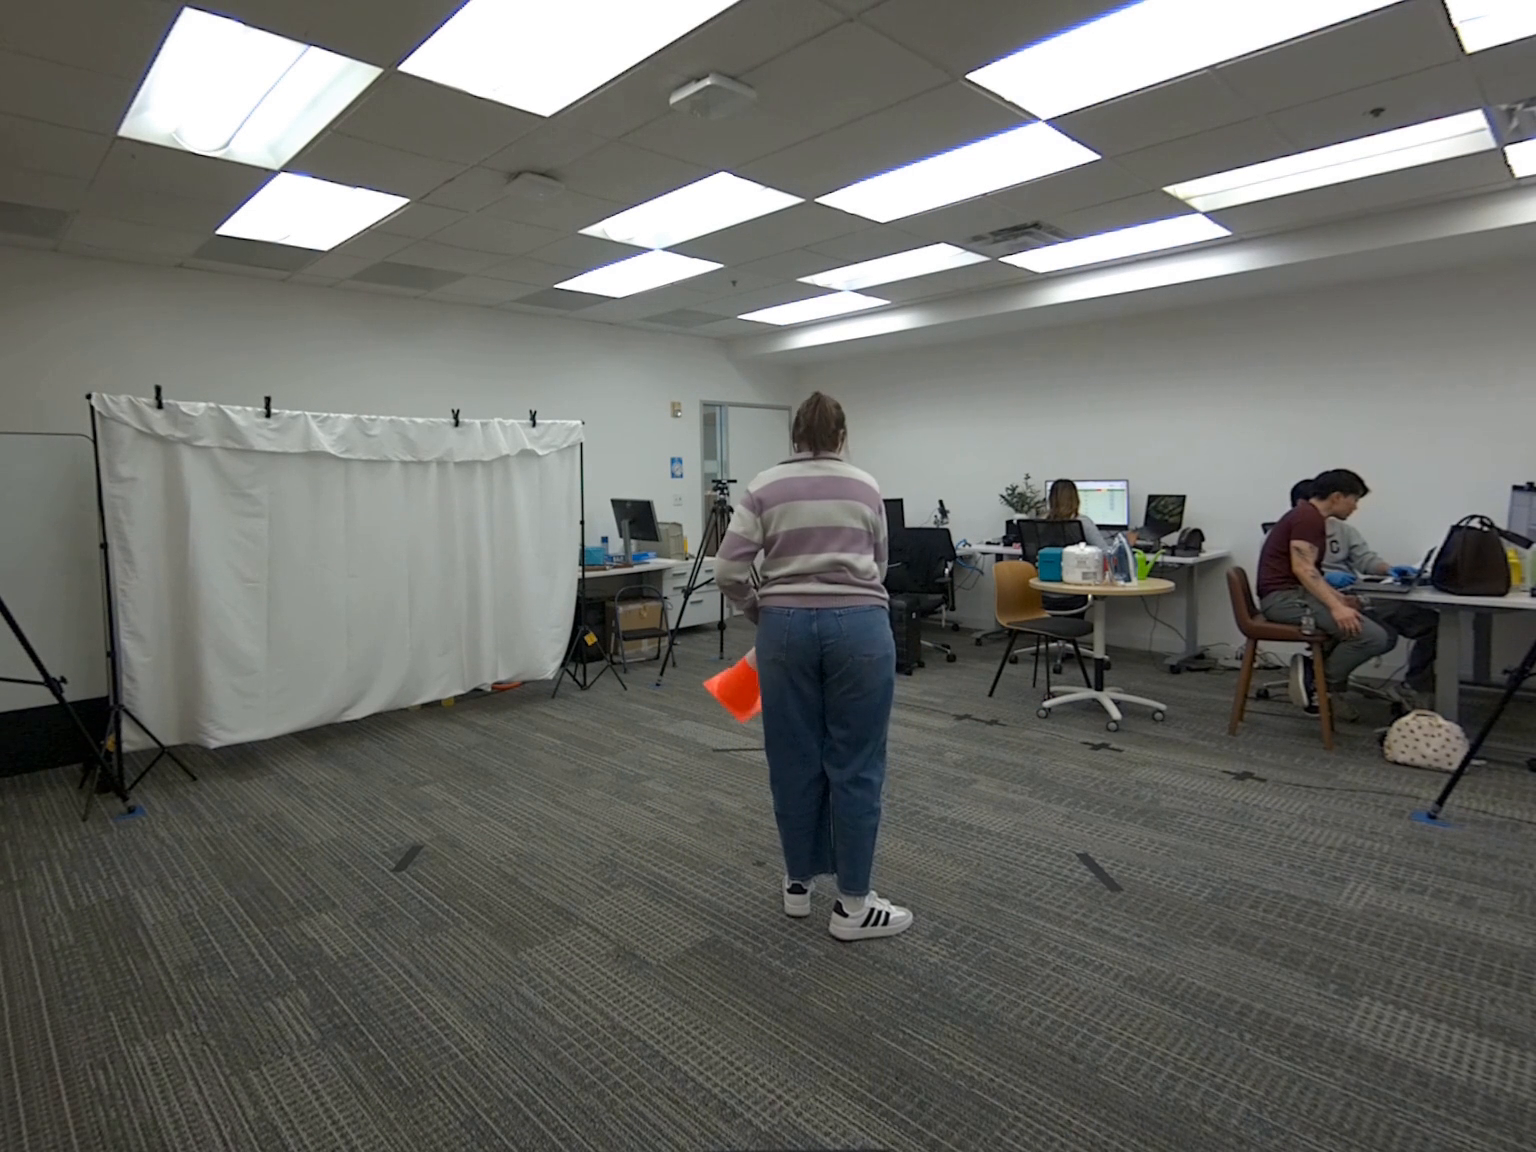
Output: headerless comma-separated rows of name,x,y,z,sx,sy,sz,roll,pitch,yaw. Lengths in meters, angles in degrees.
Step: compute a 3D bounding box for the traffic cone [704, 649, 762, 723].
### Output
traffic cone,-0.018,0.288,2.975,0.209,0.381,0.201,43,31,21
